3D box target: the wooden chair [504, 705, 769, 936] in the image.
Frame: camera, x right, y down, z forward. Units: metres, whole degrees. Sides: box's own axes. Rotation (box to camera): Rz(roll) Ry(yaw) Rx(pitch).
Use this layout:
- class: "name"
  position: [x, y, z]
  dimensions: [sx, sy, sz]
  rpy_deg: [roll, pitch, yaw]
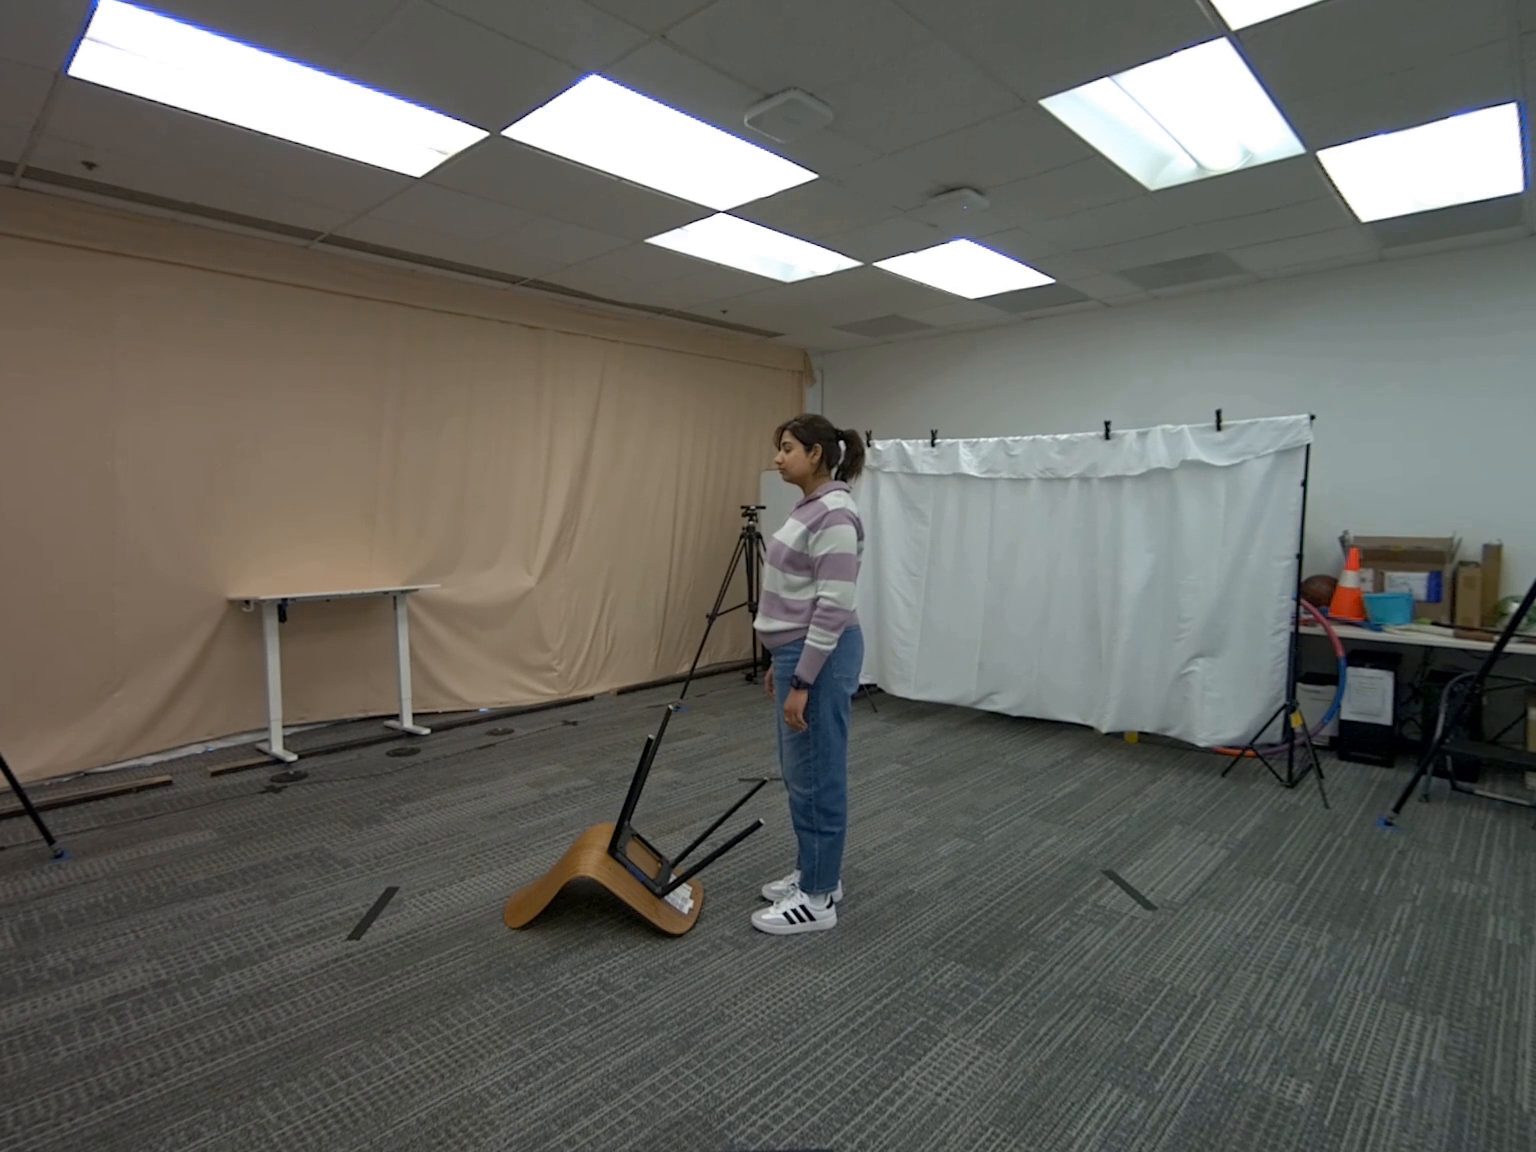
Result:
- class: "wooden chair"
  position: [-0.432, 0.984, 2.915]
  dimensions: [0.525, 0.878, 0.476]
  rpy_deg: [40, 5, 1]
